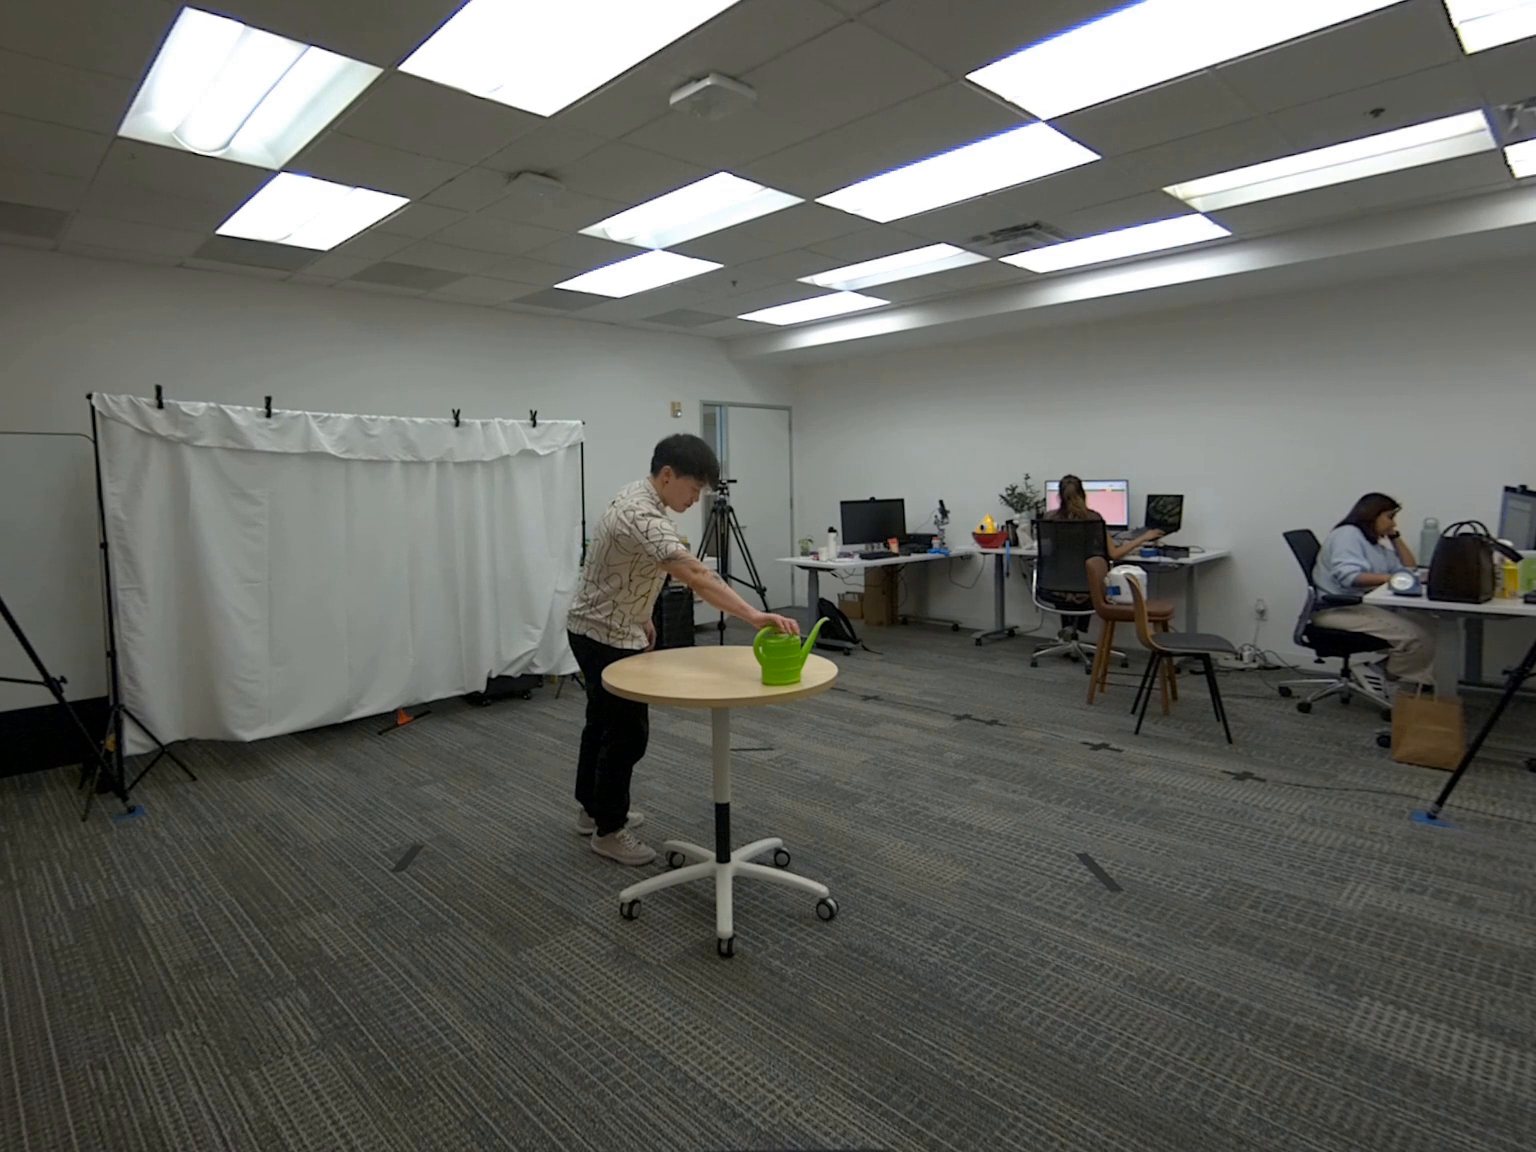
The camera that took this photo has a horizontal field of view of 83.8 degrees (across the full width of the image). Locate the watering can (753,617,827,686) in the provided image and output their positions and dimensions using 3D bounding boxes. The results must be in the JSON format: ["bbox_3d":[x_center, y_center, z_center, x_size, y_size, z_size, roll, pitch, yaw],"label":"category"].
[{"bbox_3d":[0.092,0.230,2.603,0.274,0.176,0.099,-7,2,-19],"label":"watering can"}]
